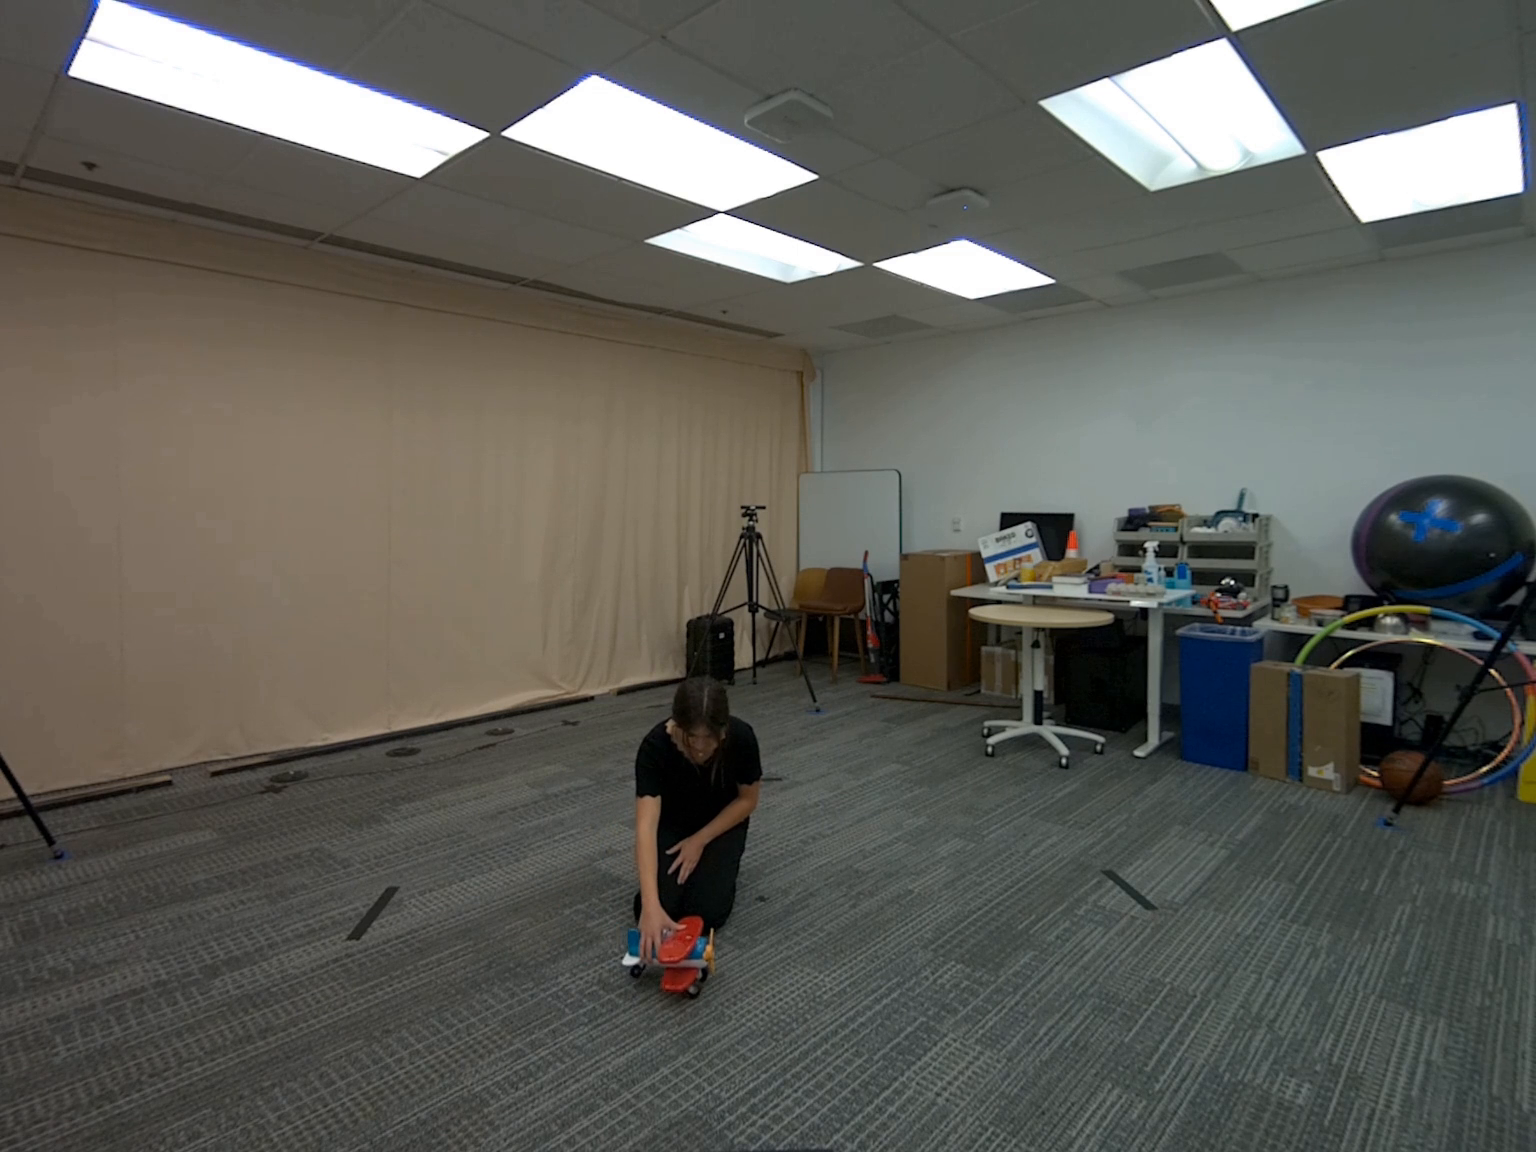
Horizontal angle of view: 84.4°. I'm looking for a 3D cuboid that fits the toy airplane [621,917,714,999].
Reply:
[{"bbox_3d":[-0.288,1.105,2.425,0.255,0.156,0.256,5,6,-17],"label":"toy airplane"}]
